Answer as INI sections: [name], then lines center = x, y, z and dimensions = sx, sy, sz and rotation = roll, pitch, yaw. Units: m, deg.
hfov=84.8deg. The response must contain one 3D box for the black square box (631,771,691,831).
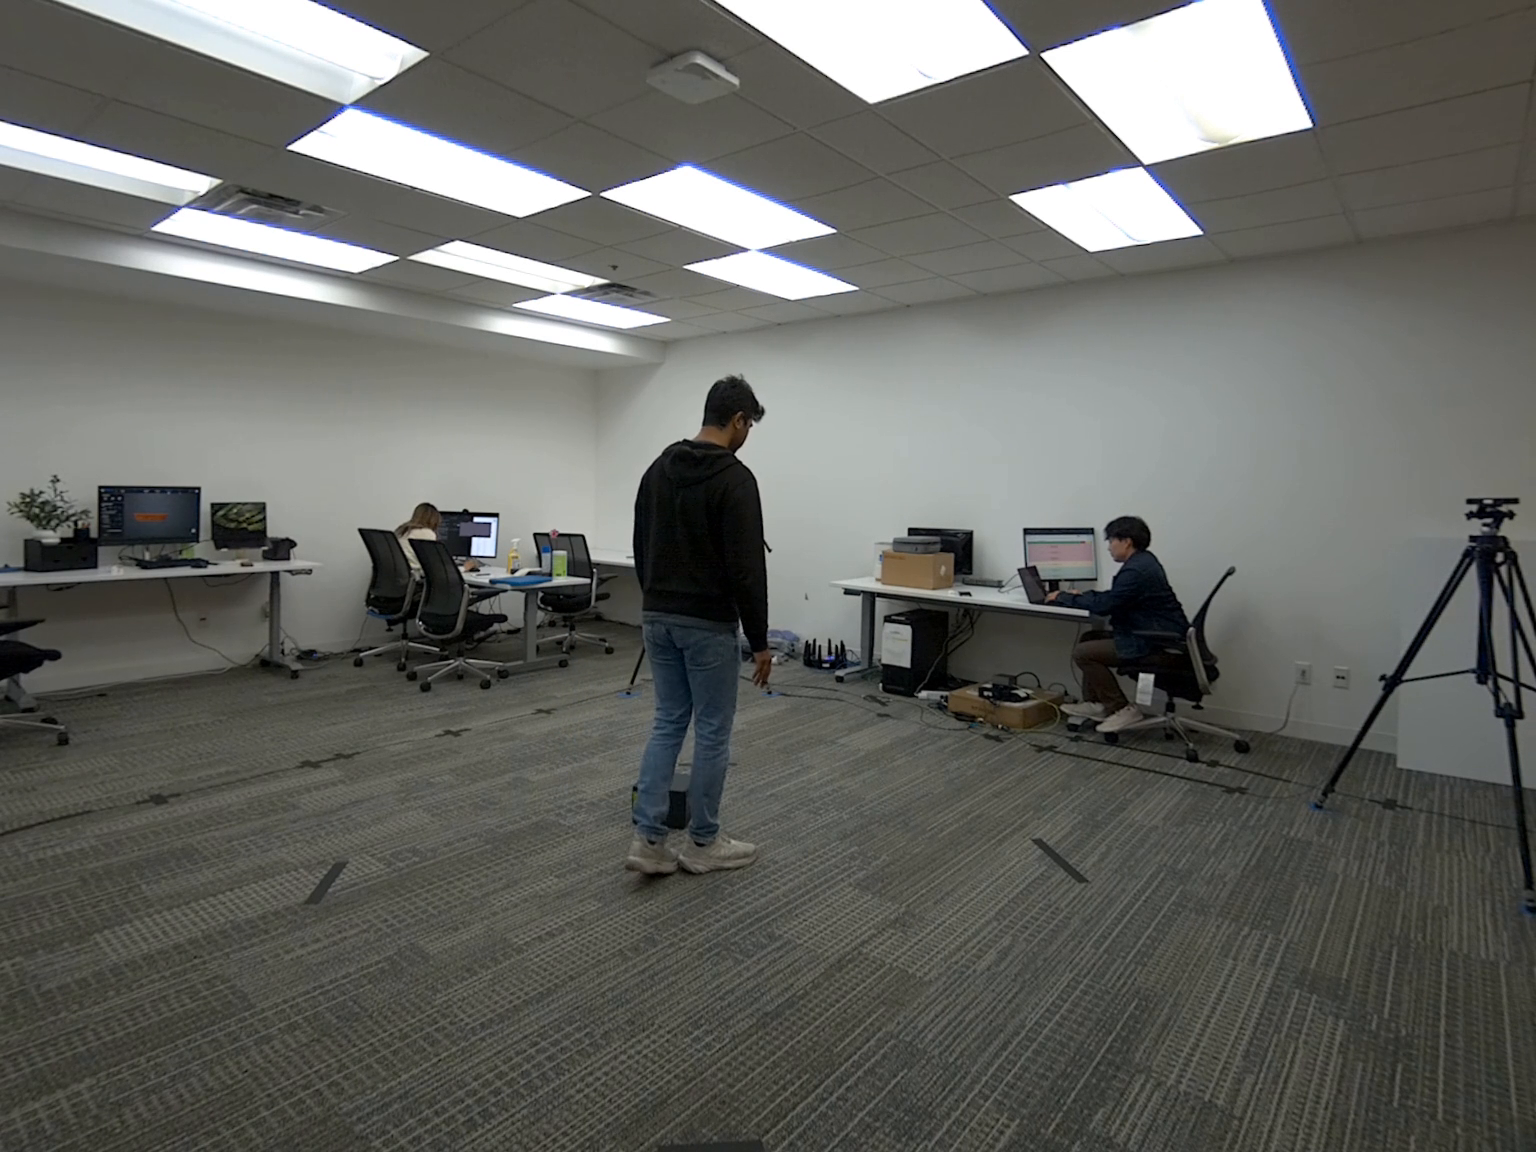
[black square box]
center = -0.439, 0.926, 3.579
dimensions = 0.231, 0.155, 0.215
rotation = 2, 5, 12
